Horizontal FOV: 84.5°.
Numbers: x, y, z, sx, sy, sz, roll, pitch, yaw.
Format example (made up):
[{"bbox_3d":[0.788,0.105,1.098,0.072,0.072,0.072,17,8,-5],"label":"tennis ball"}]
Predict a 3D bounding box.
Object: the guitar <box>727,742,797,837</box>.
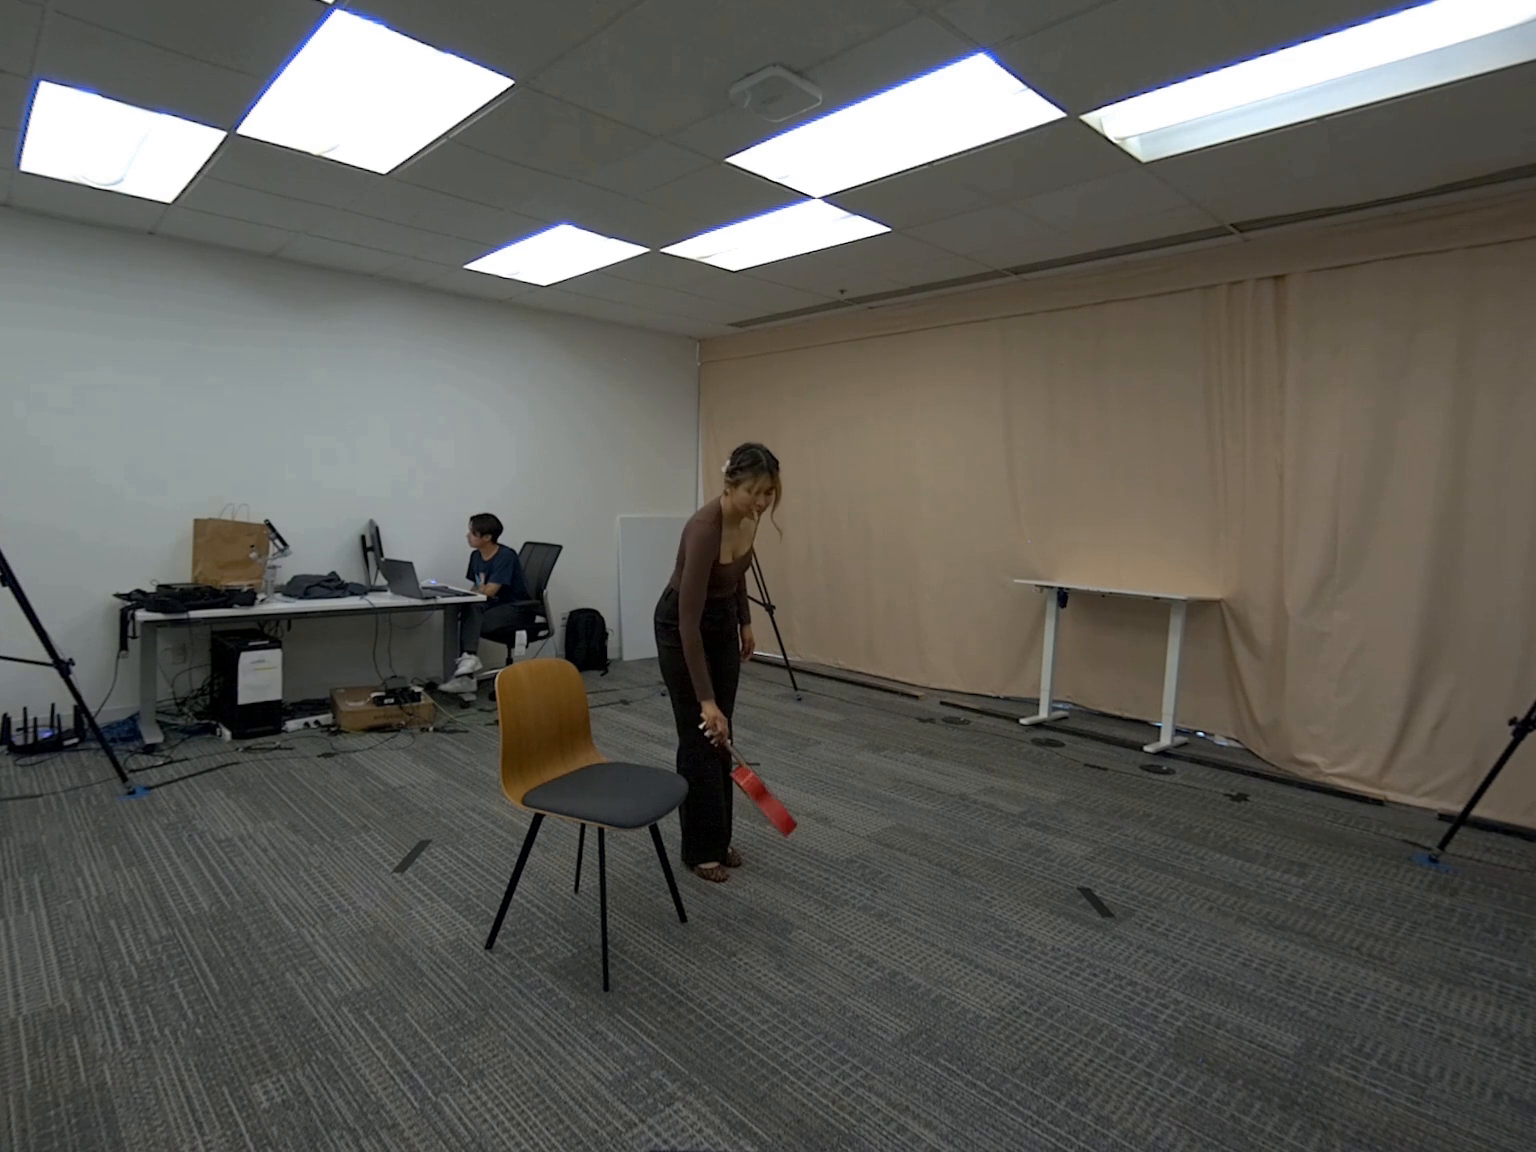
[{"bbox_3d":[-0.102,0.656,2.843,0.070,0.497,0.194,-39,2,-14],"label":"guitar"}]
